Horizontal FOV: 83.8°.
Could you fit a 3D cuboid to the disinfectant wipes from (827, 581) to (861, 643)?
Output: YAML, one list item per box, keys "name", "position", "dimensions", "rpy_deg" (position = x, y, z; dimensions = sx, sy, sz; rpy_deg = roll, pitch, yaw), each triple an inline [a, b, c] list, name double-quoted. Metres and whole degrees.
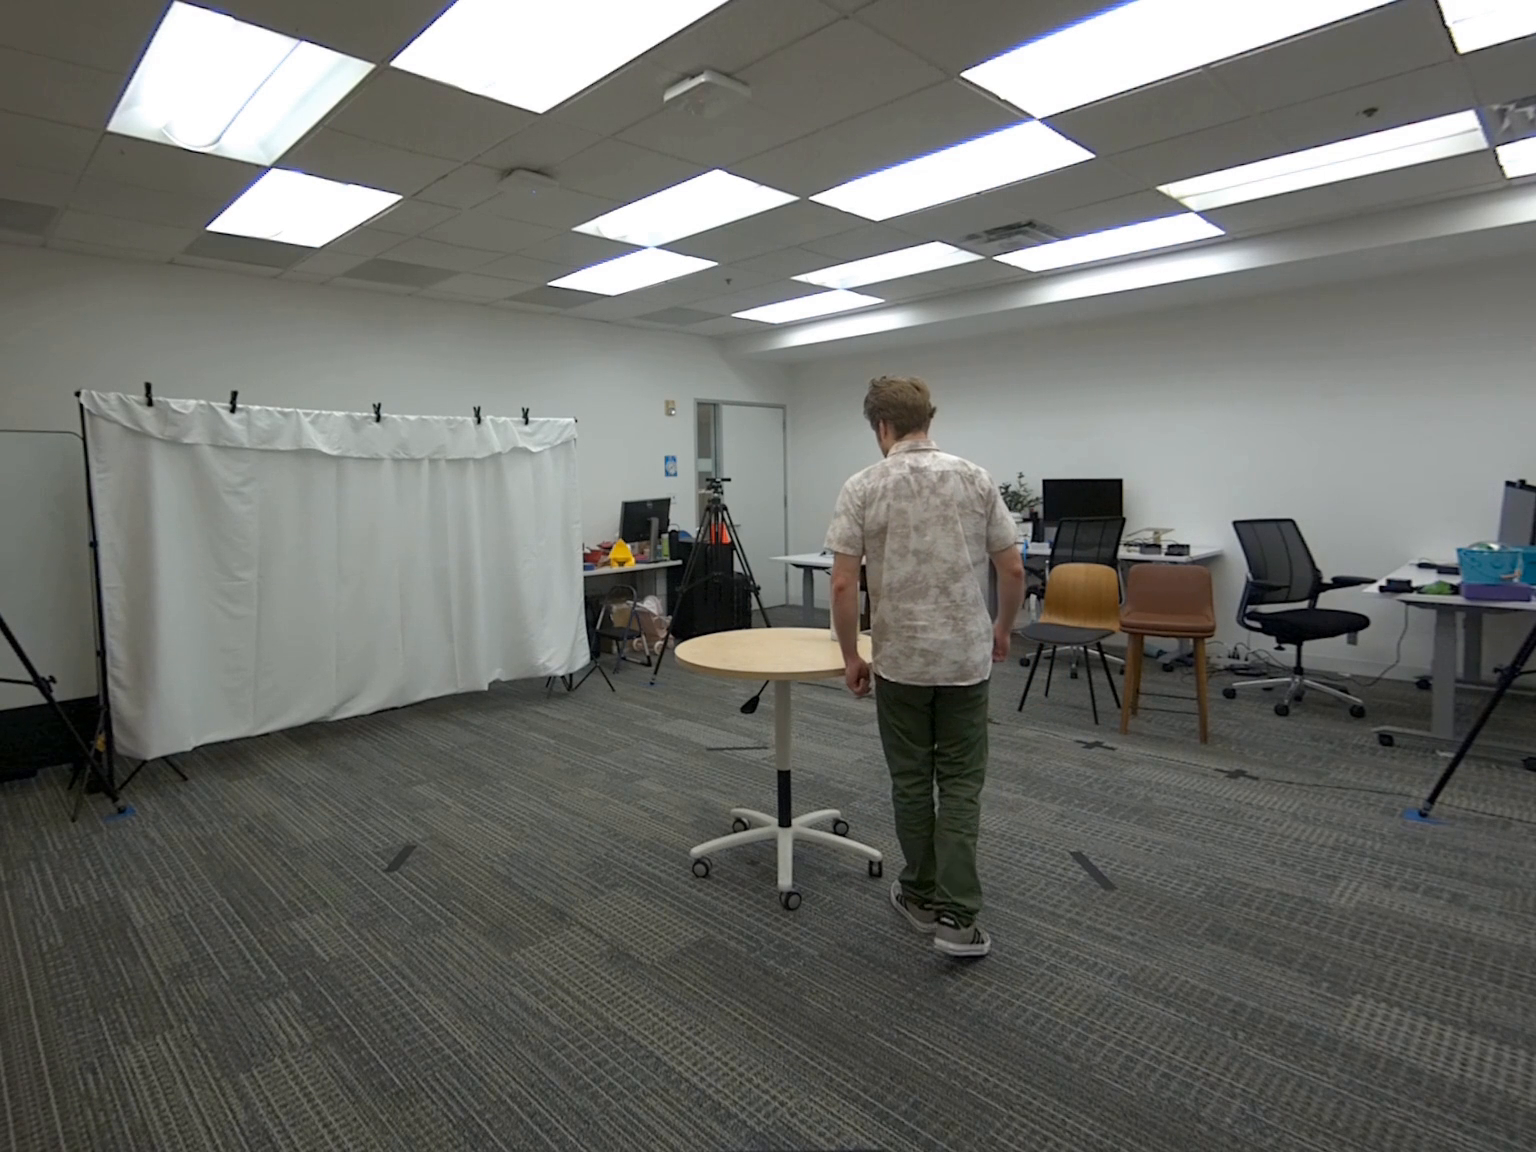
- name: "disinfectant wipes"
  position: [0.288, 0.126, 3.166]
  dimensions: [0.118, 0.217, 0.118]
  rpy_deg: [-2, 2, -2]
